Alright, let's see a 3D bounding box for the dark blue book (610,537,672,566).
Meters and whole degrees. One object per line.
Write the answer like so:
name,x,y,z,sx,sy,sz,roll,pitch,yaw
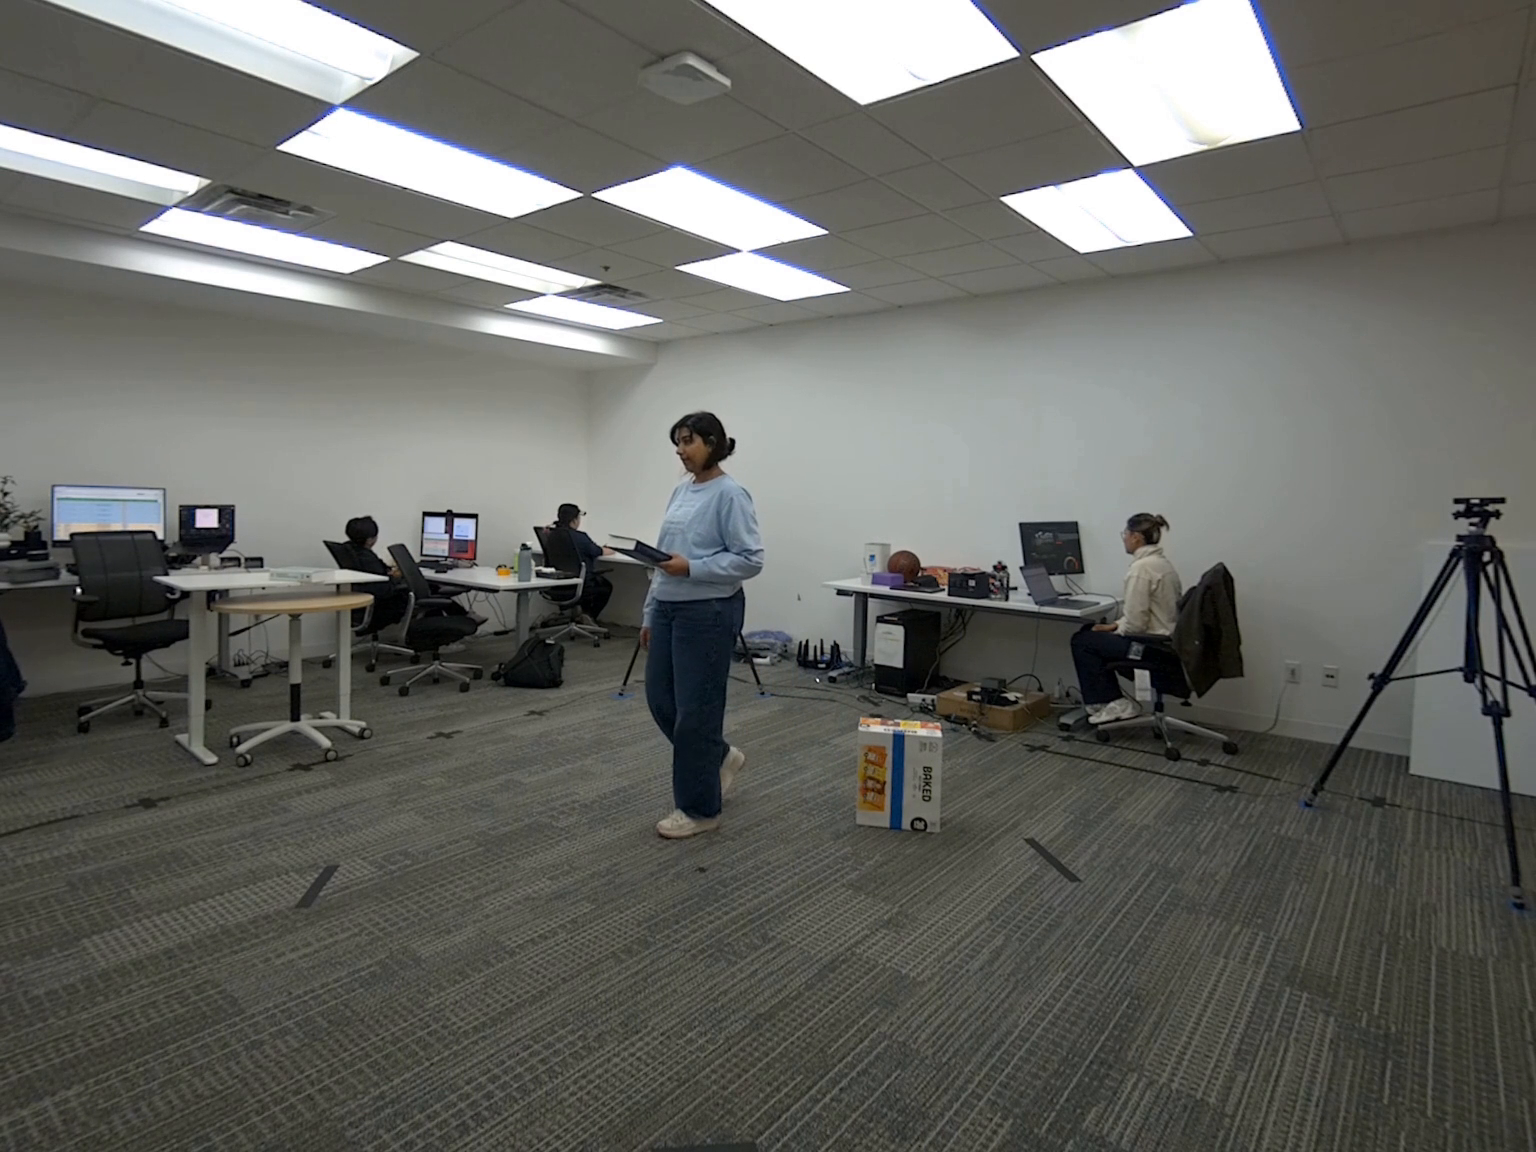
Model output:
dark blue book,-0.518,-0.100,3.264,0.169,0.045,0.235,11,-8,37
